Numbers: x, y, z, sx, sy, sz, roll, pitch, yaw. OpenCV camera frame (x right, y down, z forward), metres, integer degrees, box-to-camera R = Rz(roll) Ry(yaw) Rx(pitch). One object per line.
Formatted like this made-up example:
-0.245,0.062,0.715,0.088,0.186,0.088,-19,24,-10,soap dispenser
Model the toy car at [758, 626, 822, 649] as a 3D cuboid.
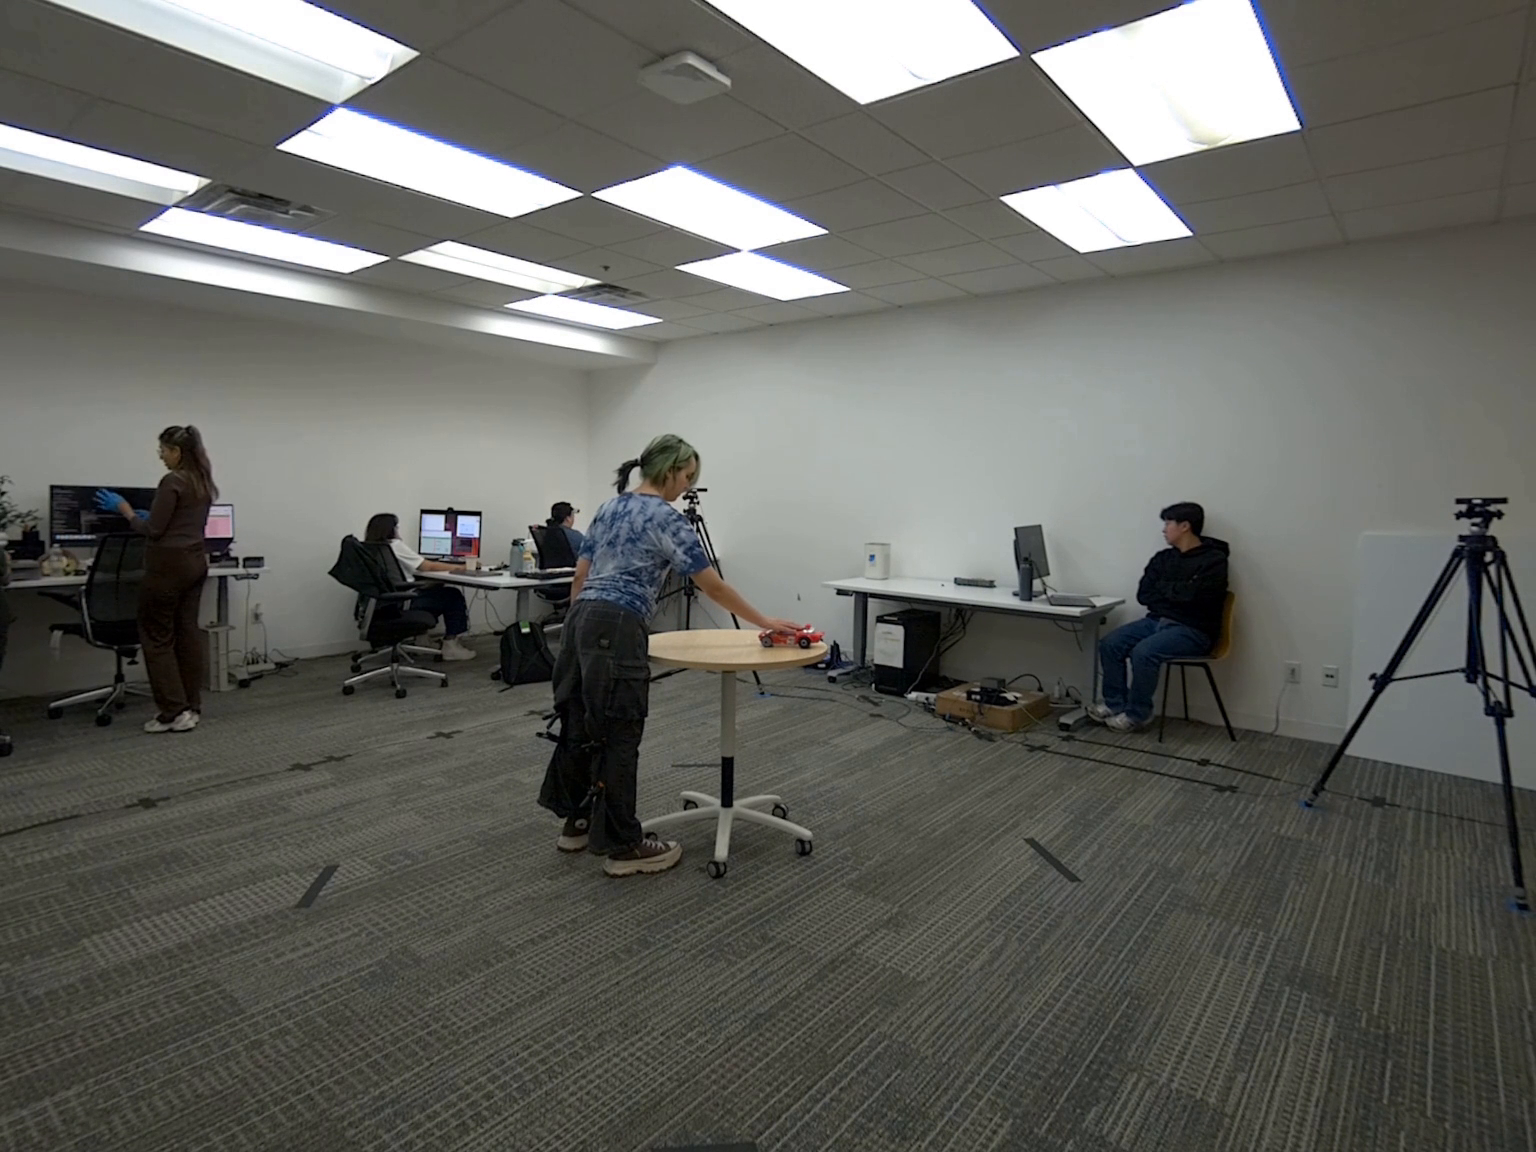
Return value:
0.084,0.240,3.306,0.257,0.083,0.129,-10,4,10,toy car
